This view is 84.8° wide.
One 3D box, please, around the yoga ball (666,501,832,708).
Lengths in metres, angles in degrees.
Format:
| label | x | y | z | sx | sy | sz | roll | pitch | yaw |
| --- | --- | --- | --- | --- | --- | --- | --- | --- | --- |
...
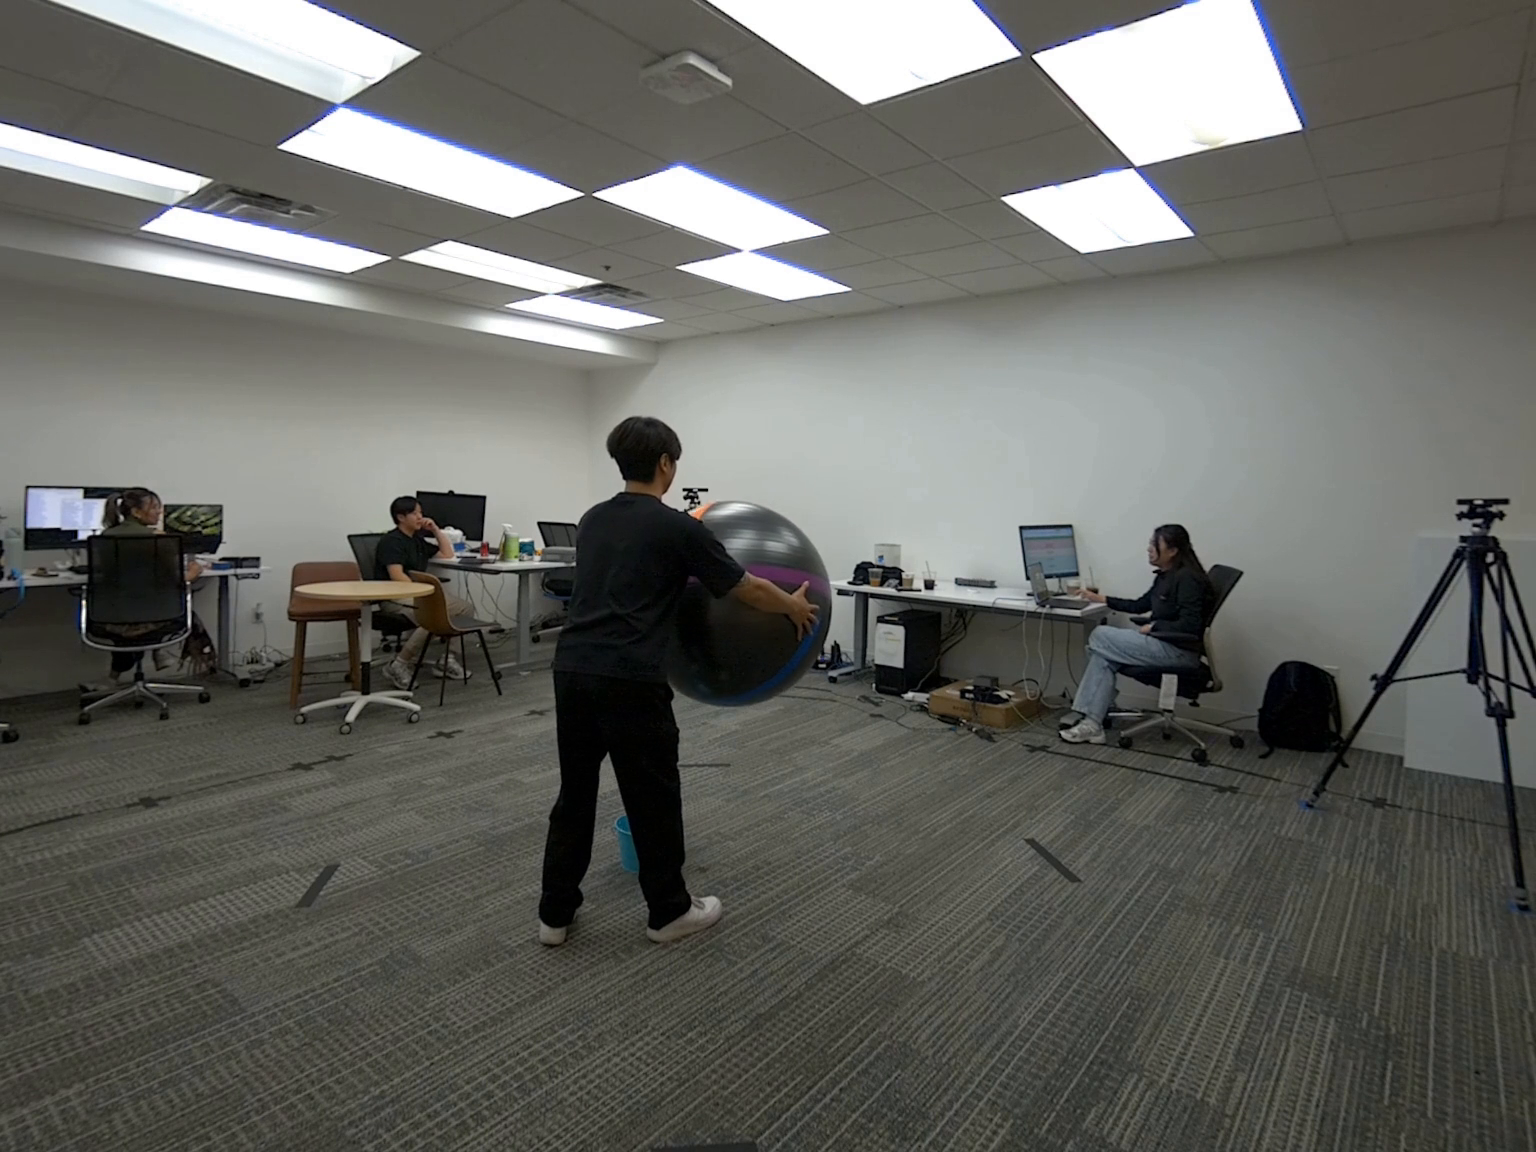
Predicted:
| label | x | y | z | sx | sy | sz | roll | pitch | yaw |
| --- | --- | --- | --- | --- | --- | --- | --- | --- | --- |
| yoga ball | -0.140 | 0.108 | 3.191 | 0.757 | 0.755 | 0.762 | 1 | 4 | -2 |
